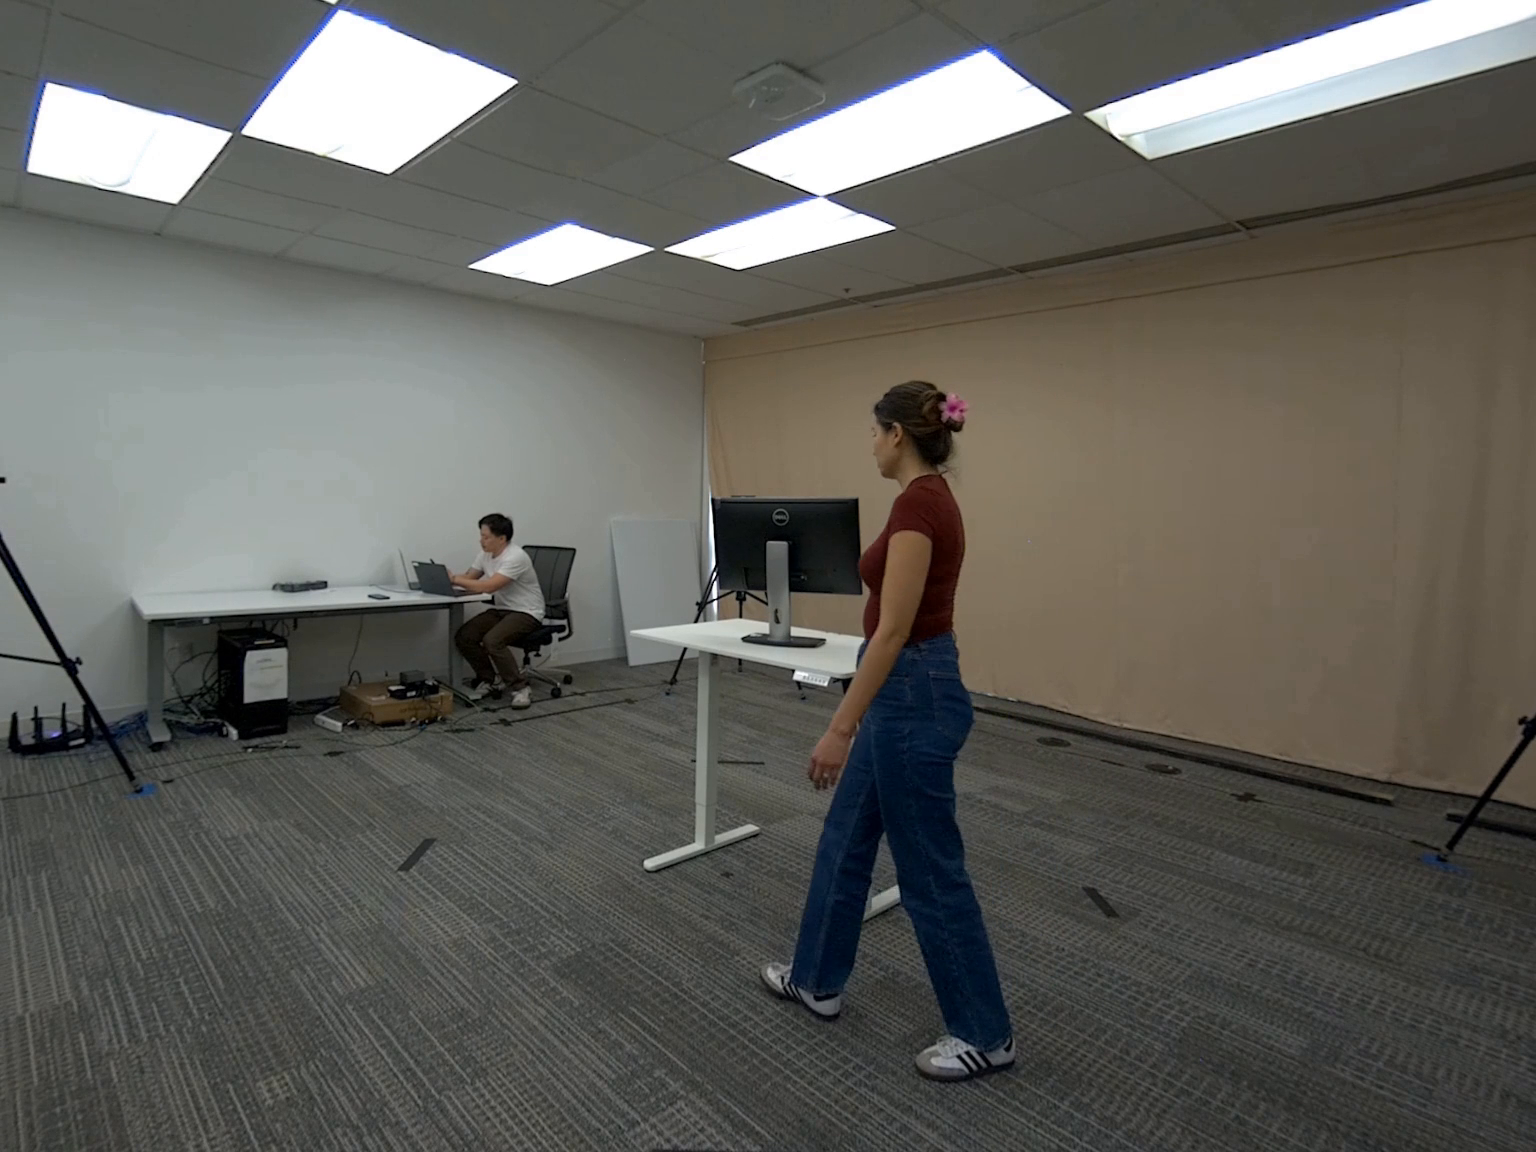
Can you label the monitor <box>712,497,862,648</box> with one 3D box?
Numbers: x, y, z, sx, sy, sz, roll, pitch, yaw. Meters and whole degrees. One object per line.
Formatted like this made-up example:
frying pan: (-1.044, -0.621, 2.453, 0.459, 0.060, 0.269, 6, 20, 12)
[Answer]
monitor: (0.047, -0.015, 2.960, 0.546, 0.521, 0.185, 1, 3, 17)
